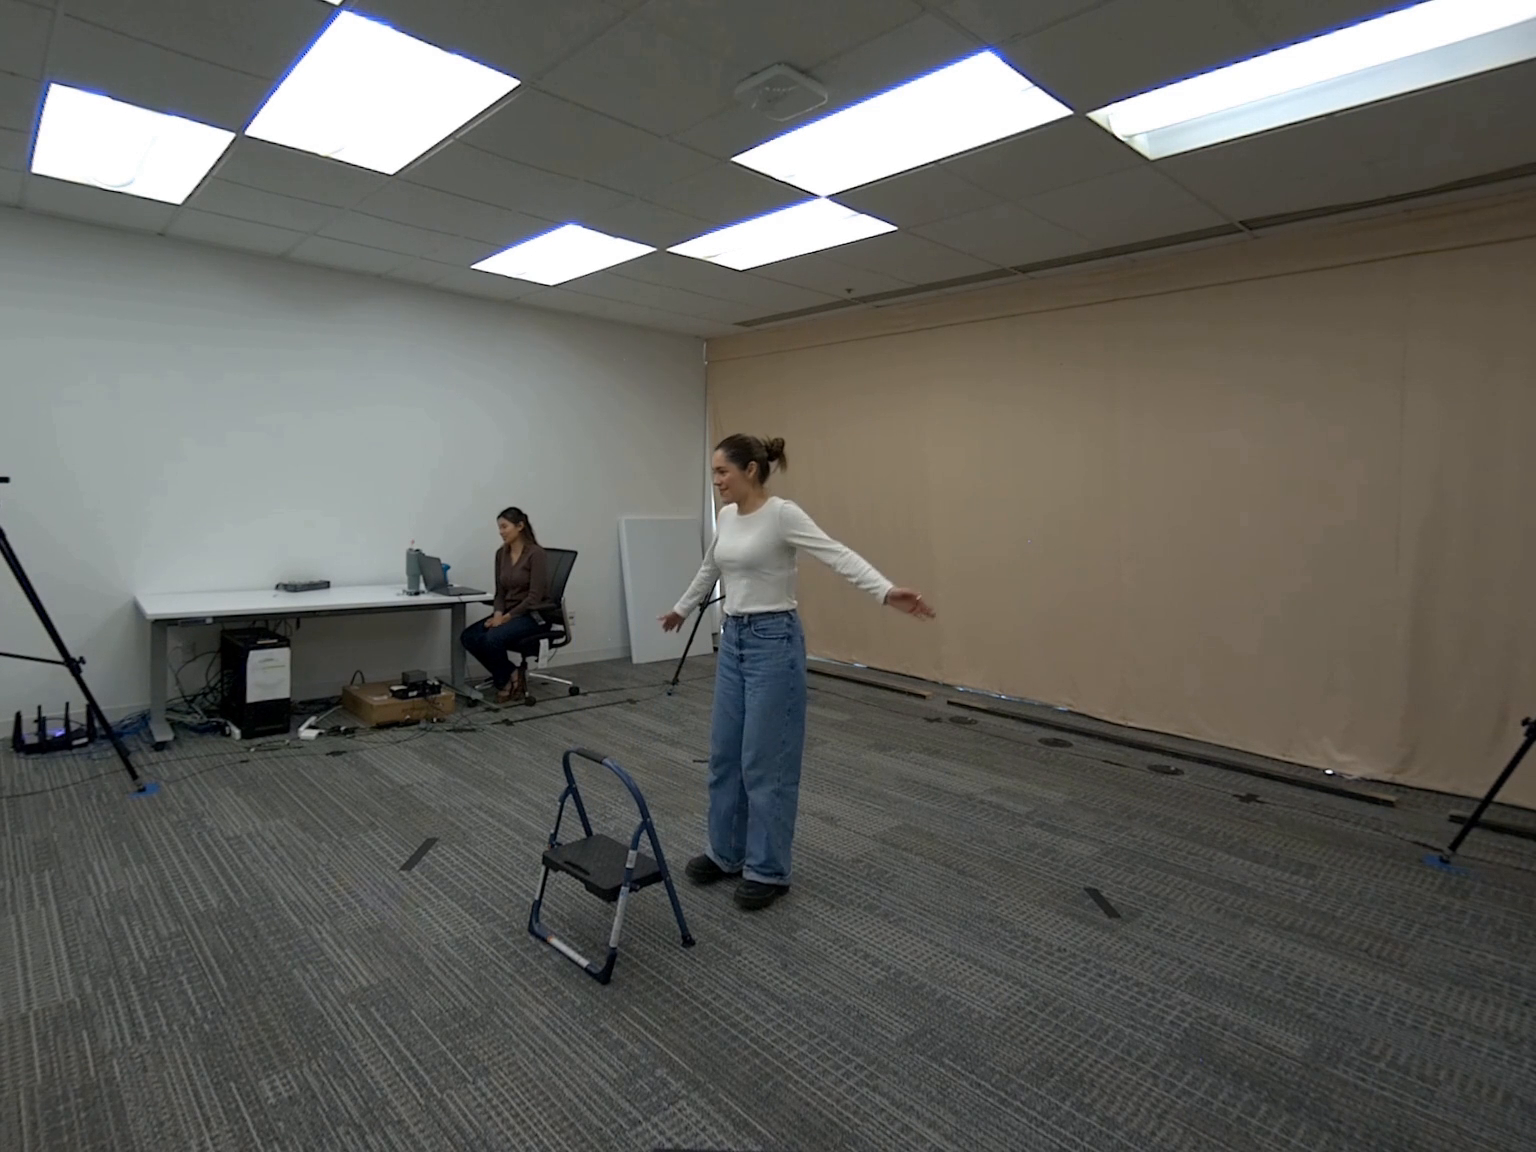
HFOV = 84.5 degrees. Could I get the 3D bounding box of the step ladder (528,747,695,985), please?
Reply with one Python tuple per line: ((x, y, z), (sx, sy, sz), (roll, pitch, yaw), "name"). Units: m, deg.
((-0.496, 0.839, 2.626), (0.441, 0.604, 0.341), (4, 5, 43), "step ladder")
